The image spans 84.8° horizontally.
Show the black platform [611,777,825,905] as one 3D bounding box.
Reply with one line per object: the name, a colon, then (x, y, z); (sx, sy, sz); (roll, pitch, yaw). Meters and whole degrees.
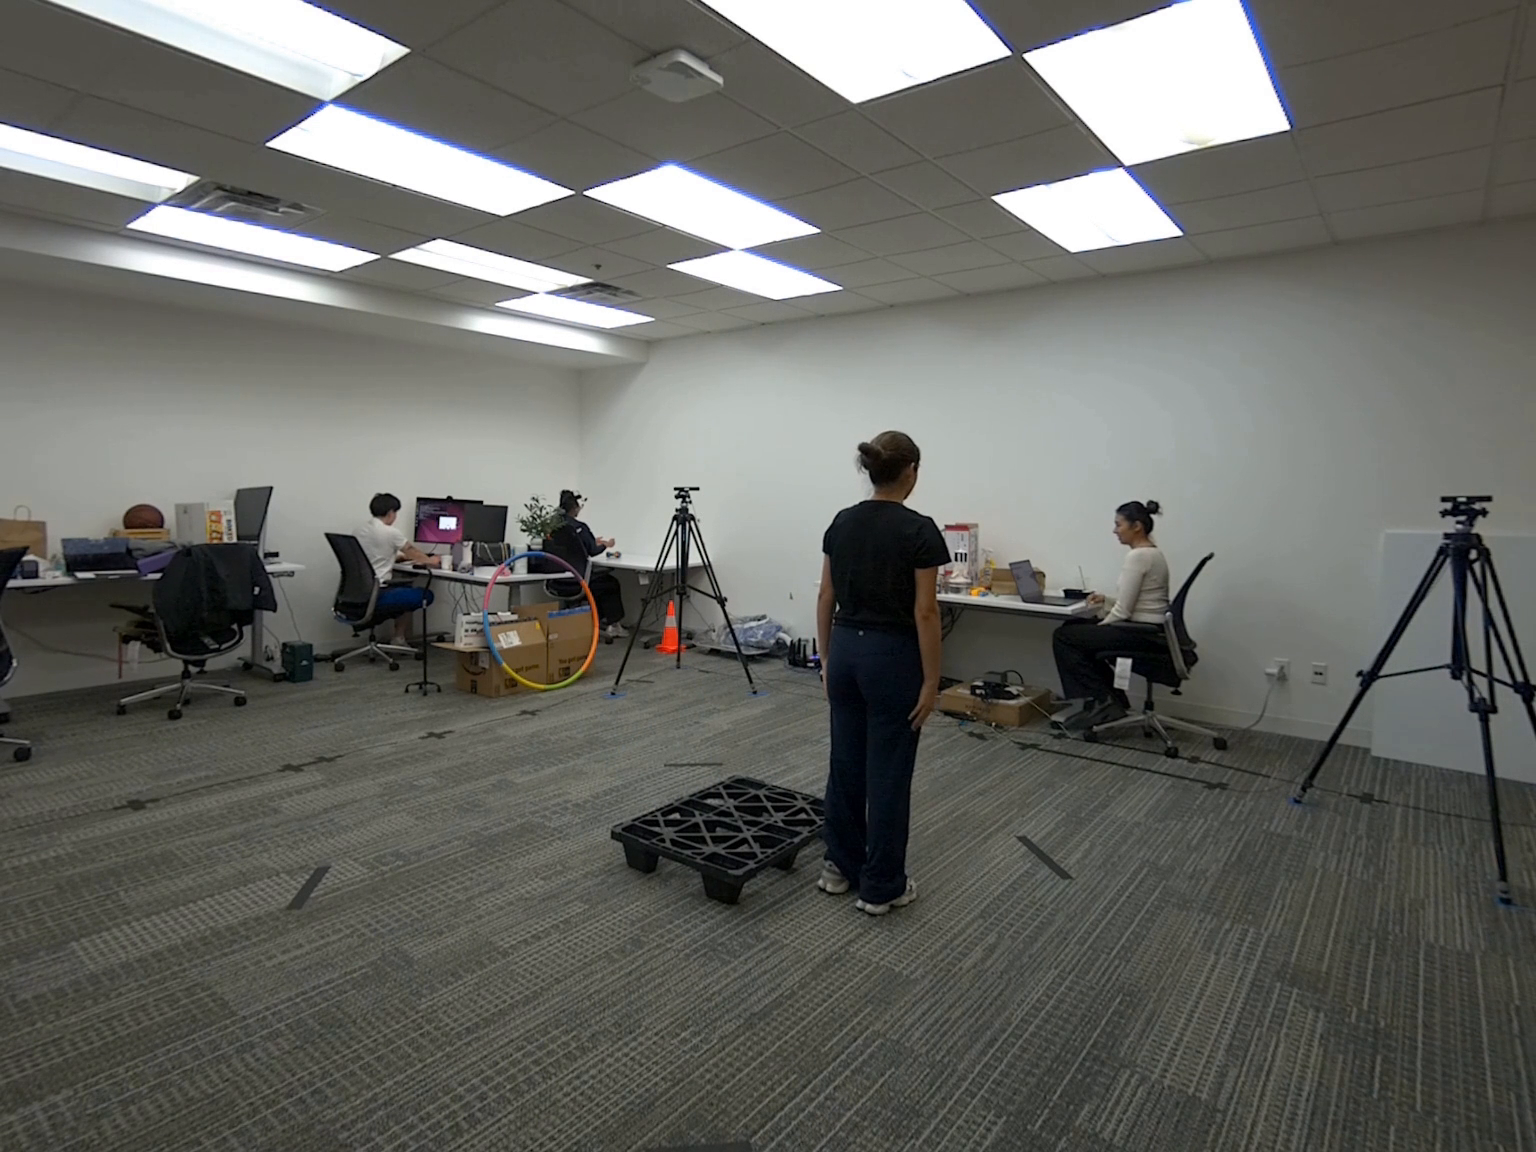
black platform: (-0.095, 0.985, 3.270); (0.625, 0.143, 0.783); (5, 7, 36)
